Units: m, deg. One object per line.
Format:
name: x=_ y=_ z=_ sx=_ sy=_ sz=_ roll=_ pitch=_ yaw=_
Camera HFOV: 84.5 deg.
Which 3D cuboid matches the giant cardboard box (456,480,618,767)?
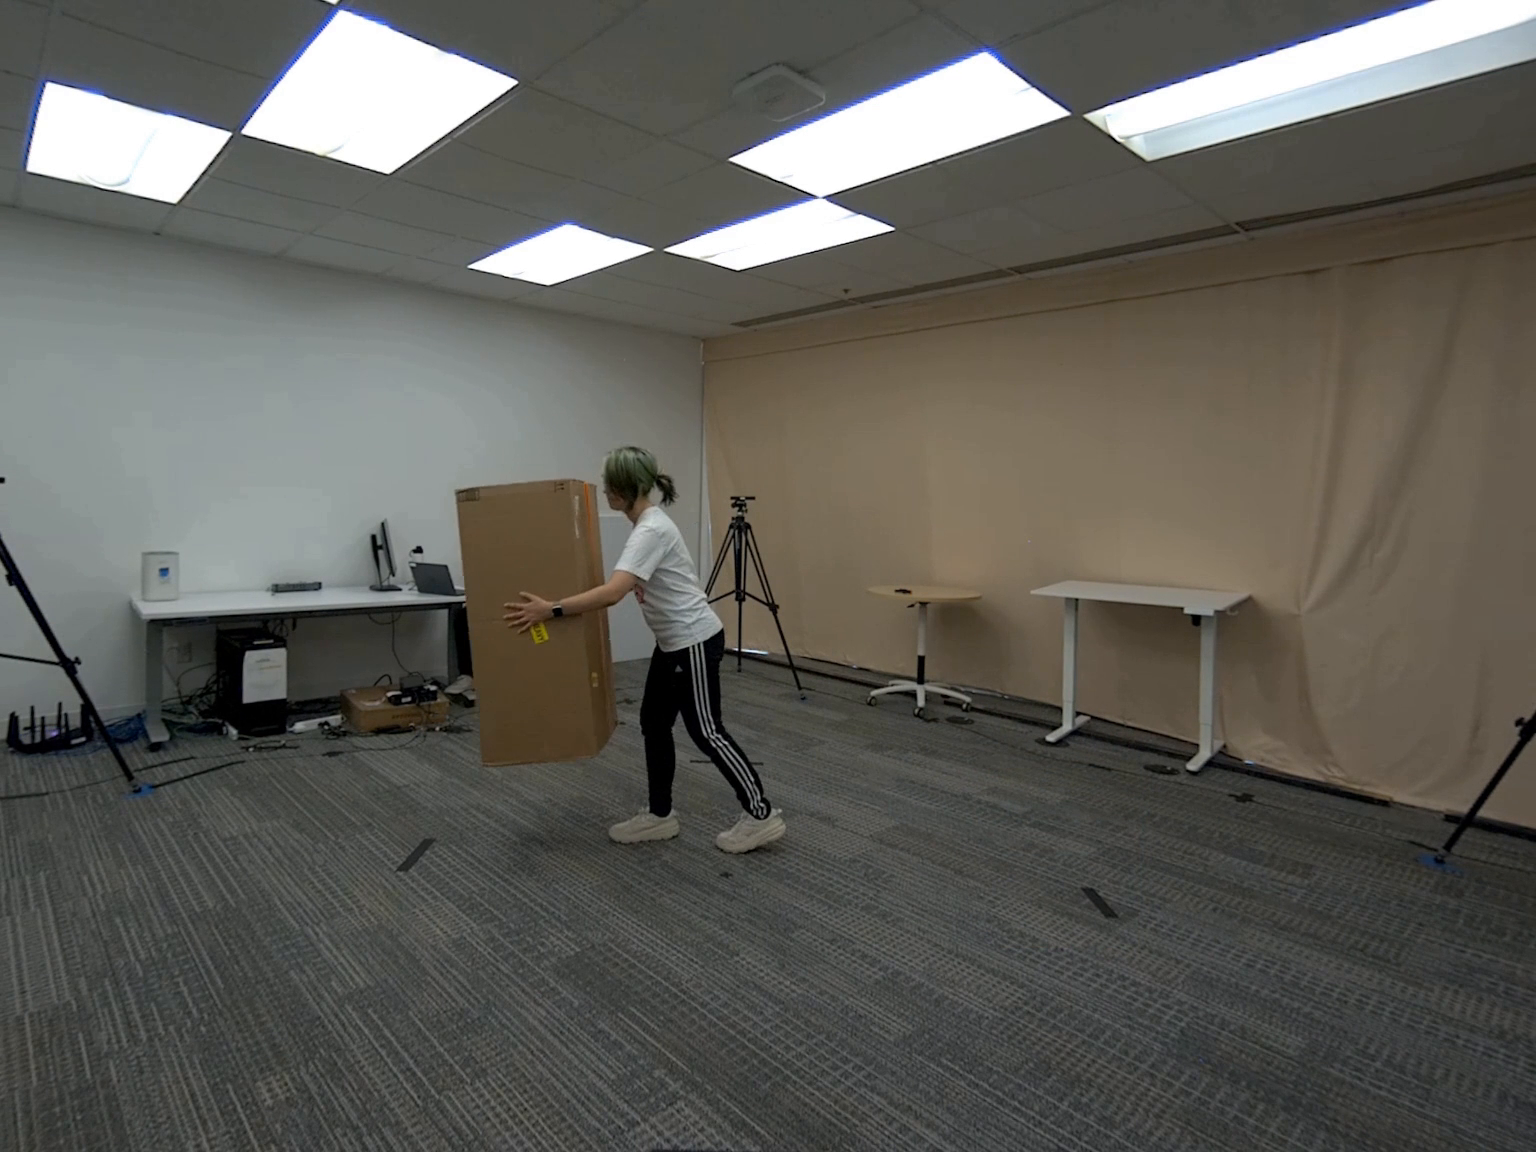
giant cardboard box: x=-0.892 y=0.157 z=3.341 sx=0.447 sy=1.025 sz=0.585 roll=-5 pitch=2 yaw=-1
